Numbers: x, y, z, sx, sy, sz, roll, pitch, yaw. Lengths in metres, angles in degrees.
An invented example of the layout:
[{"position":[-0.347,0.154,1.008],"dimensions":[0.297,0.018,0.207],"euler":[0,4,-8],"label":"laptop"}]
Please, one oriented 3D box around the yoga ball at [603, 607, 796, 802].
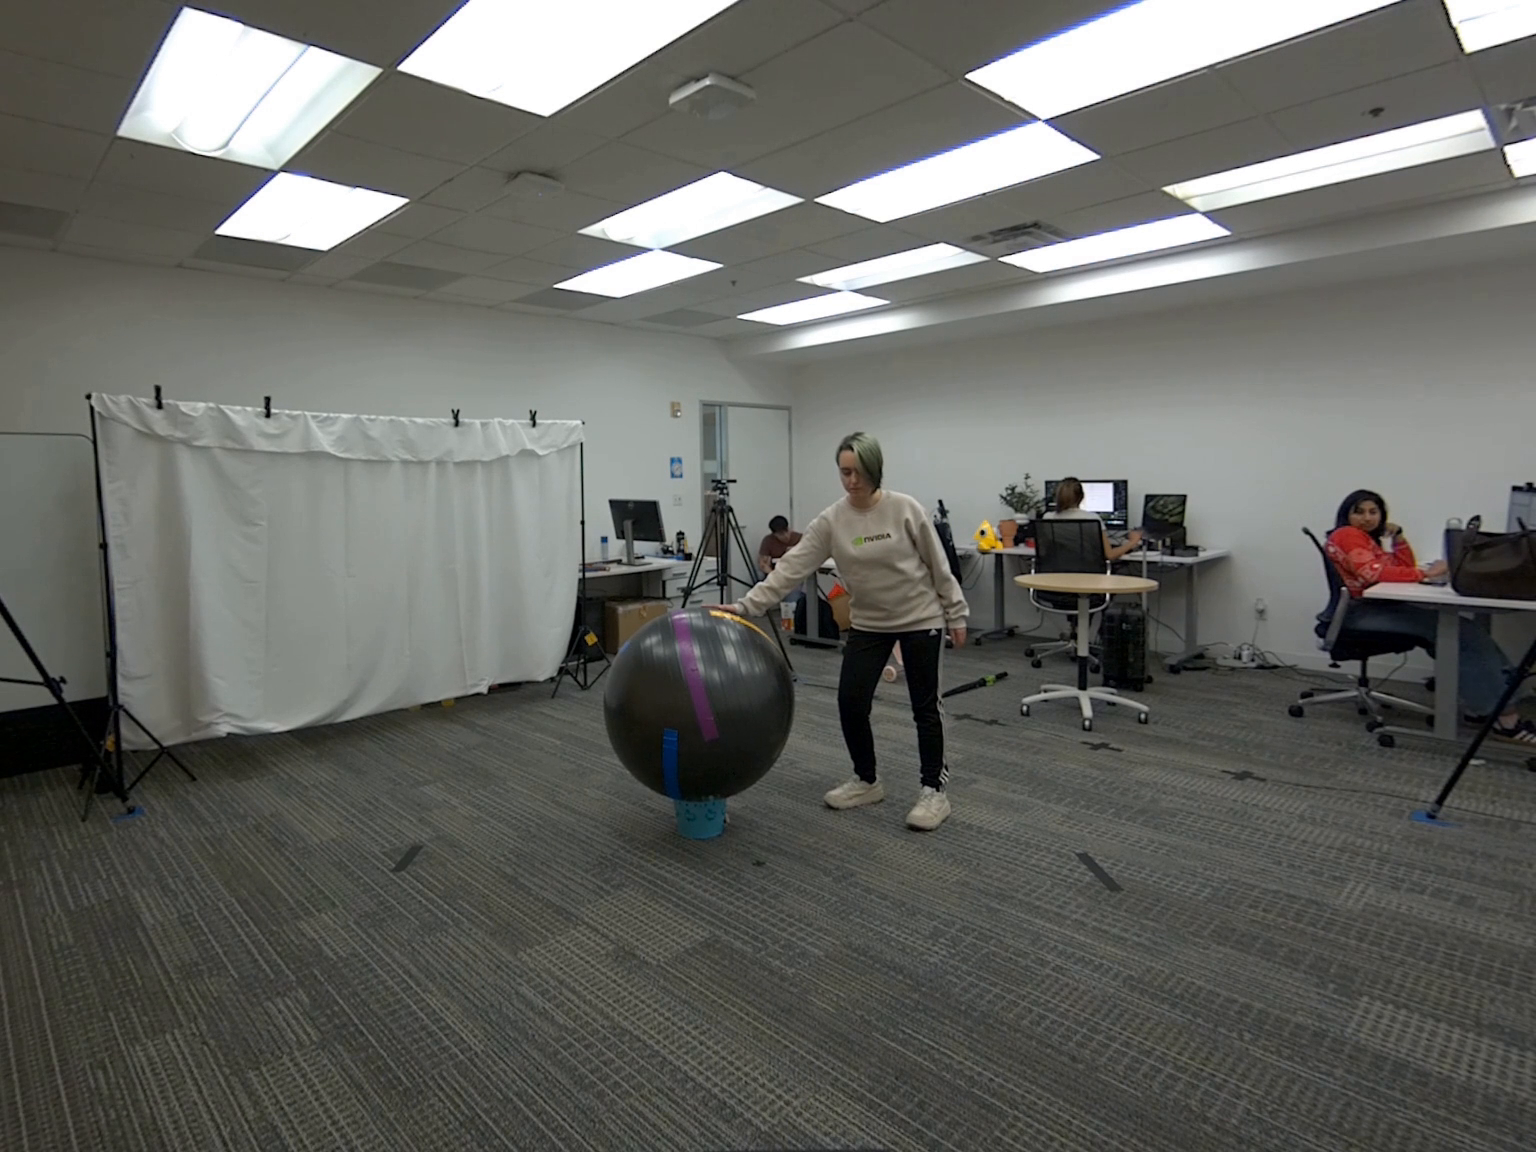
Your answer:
[{"position":[-0.271,0.508,3.397],"dimensions":[0.757,0.755,0.762],"euler":[-1,5,-2],"label":"yoga ball"}]
